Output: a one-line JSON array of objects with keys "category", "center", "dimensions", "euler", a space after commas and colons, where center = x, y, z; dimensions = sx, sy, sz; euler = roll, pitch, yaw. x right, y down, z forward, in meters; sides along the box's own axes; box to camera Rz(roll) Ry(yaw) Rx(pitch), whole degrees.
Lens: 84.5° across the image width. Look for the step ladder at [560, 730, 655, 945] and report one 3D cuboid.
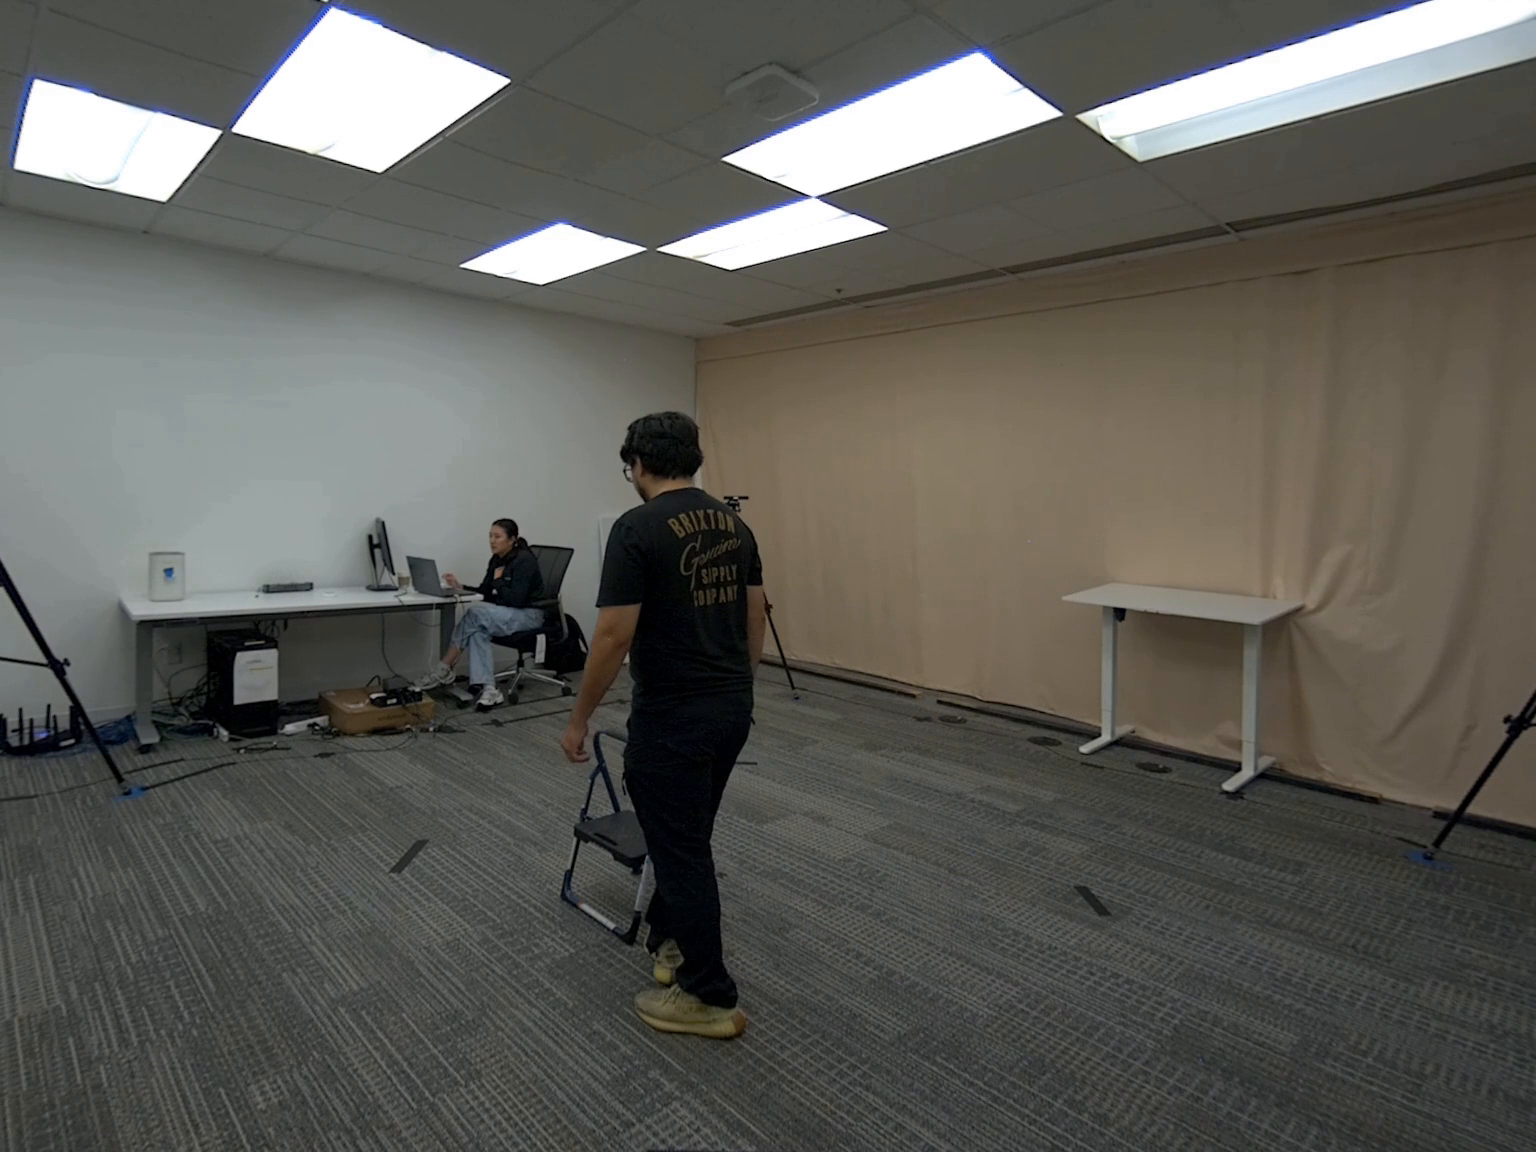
[{"category": "step ladder", "center": [-0.447, 0.817, 2.843], "dimensions": [0.341, 0.604, 0.442], "euler": [-2, 5, -45]}]
